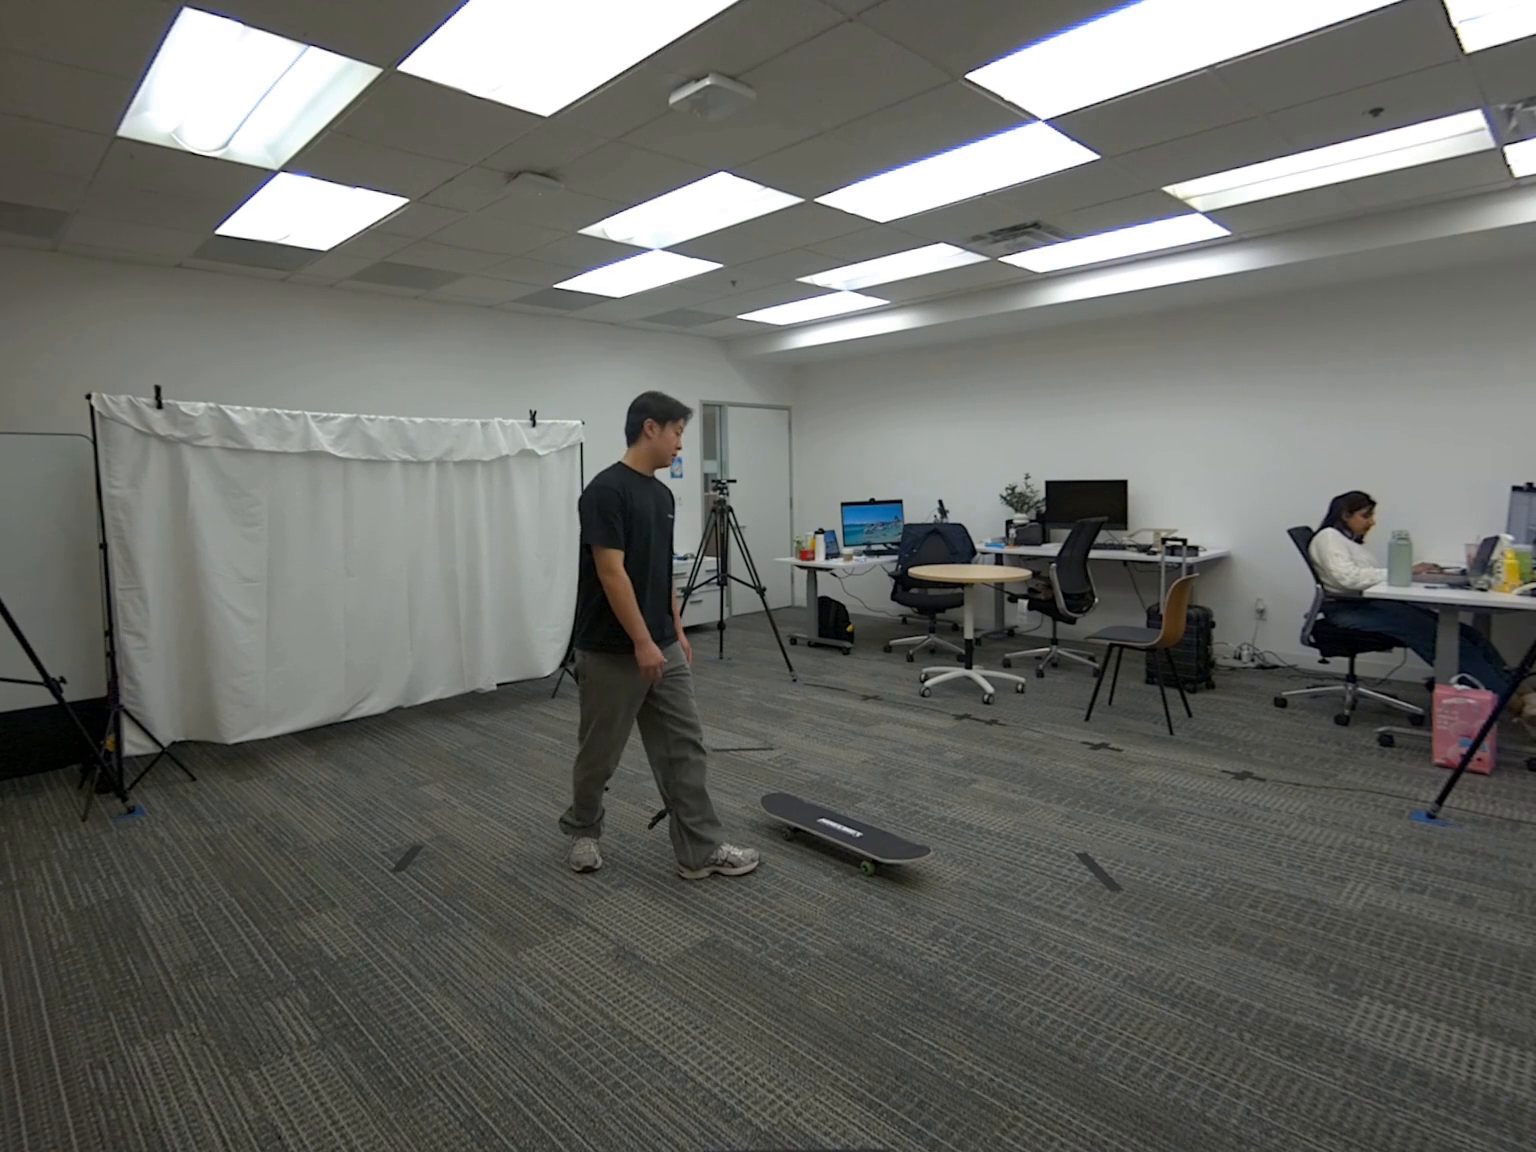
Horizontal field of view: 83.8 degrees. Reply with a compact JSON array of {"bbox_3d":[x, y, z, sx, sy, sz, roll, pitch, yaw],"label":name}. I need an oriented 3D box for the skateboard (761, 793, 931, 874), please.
[{"bbox_3d":[0.273,0.977,3.201,0.188,0.110,0.810,-6,8,-42],"label":"skateboard"}]
